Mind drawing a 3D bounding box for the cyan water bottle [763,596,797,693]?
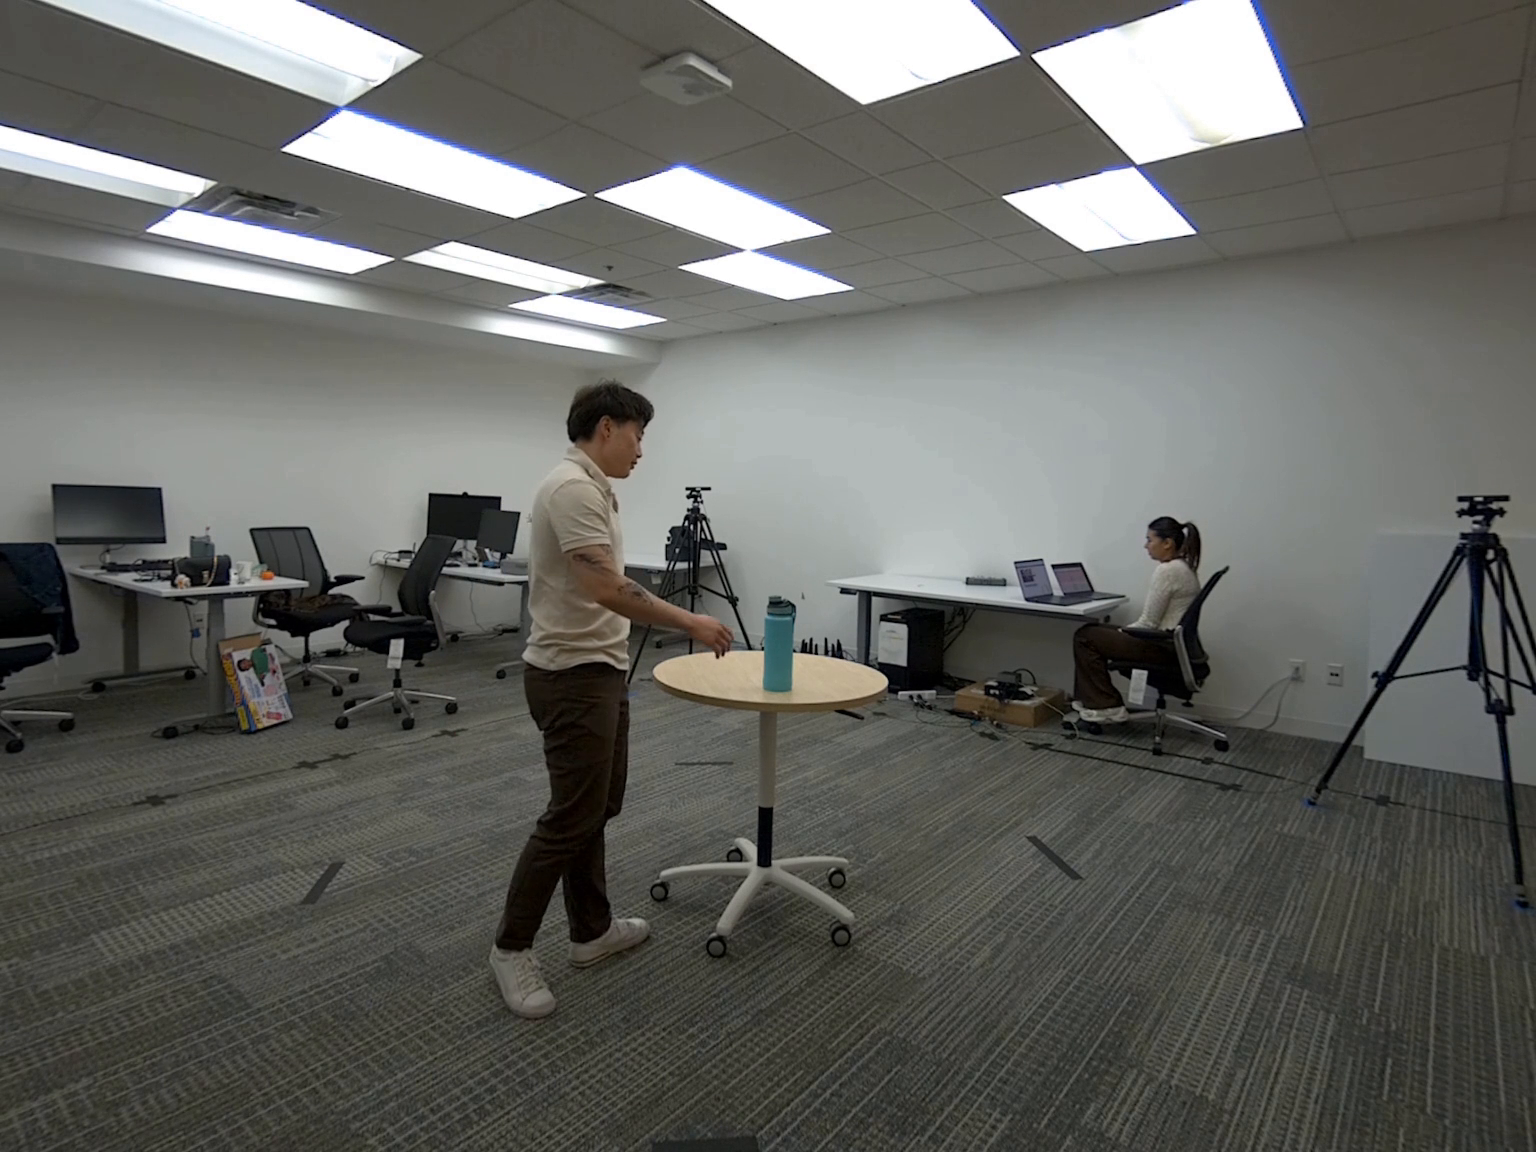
[{"bbox_3d":[0.028,0.205,2.576,0.092,0.283,0.093,3,3,-2],"label":"cyan water bottle"}]
